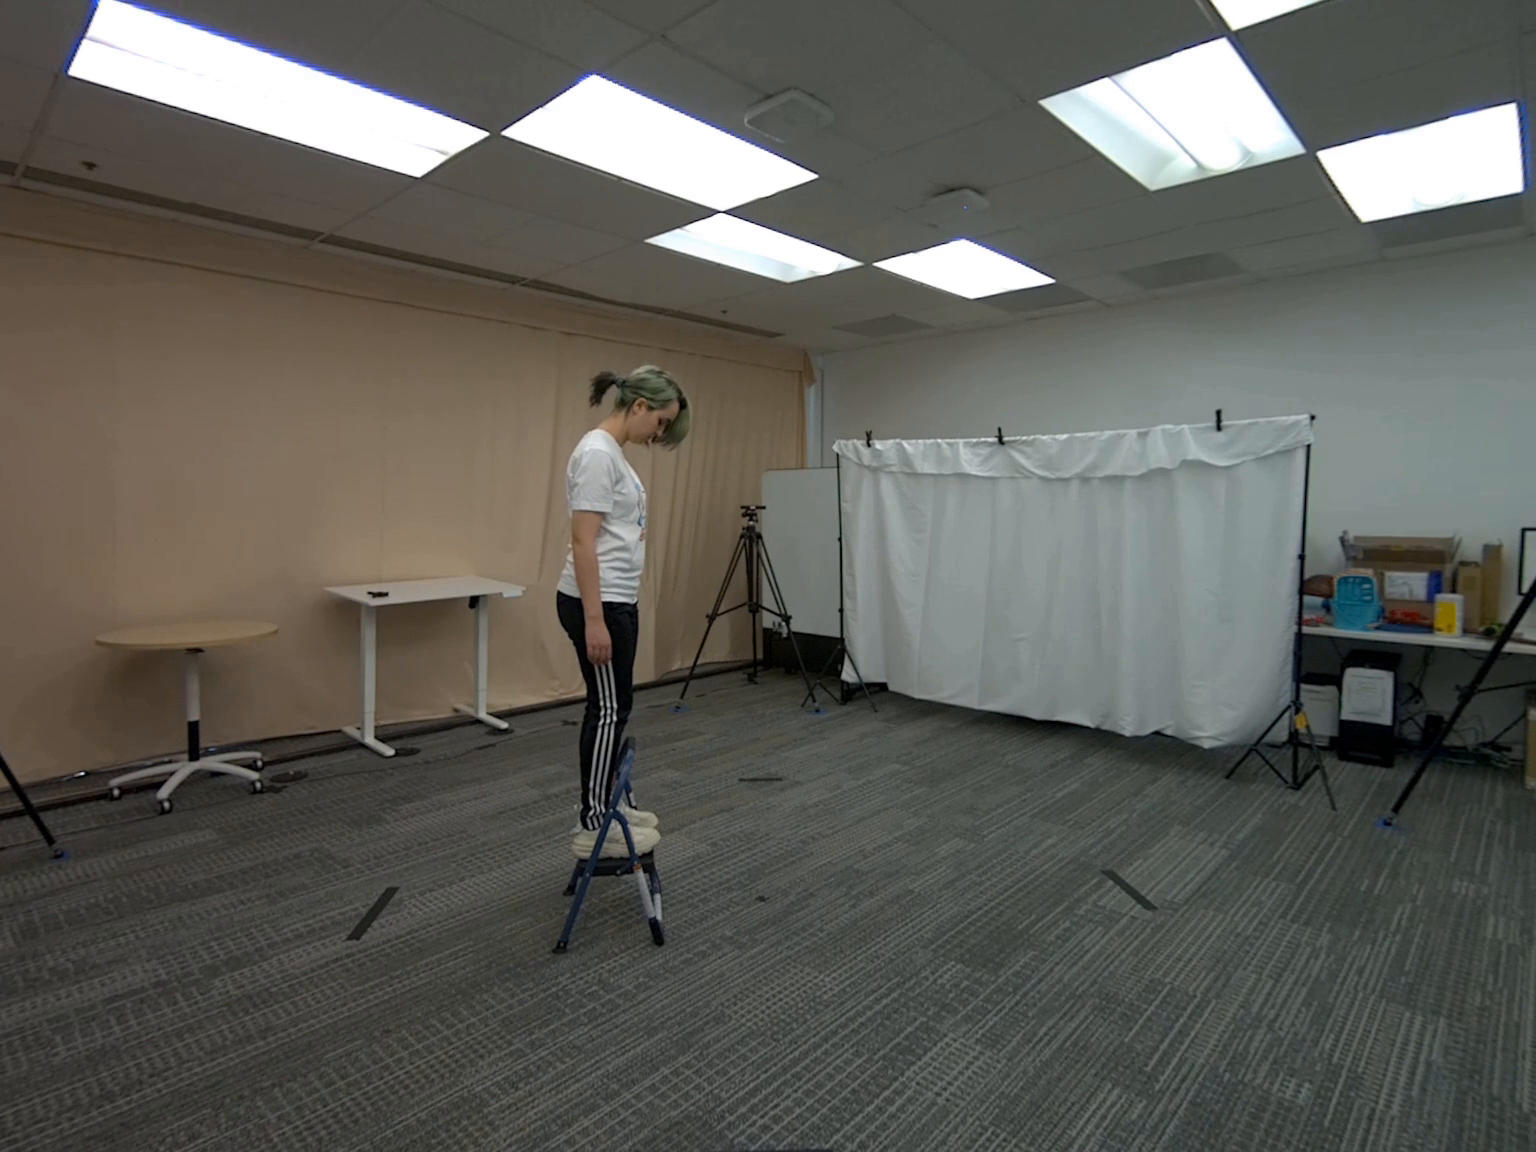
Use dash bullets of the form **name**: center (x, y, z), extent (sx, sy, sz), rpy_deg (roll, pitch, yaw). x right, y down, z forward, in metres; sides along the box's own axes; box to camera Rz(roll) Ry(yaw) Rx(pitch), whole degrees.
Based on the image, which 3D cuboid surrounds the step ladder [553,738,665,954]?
- **step ladder**: center (-0.532, 0.862, 2.836), extent (0.347, 0.605, 0.435), rpy_deg (-2, 3, -8)
